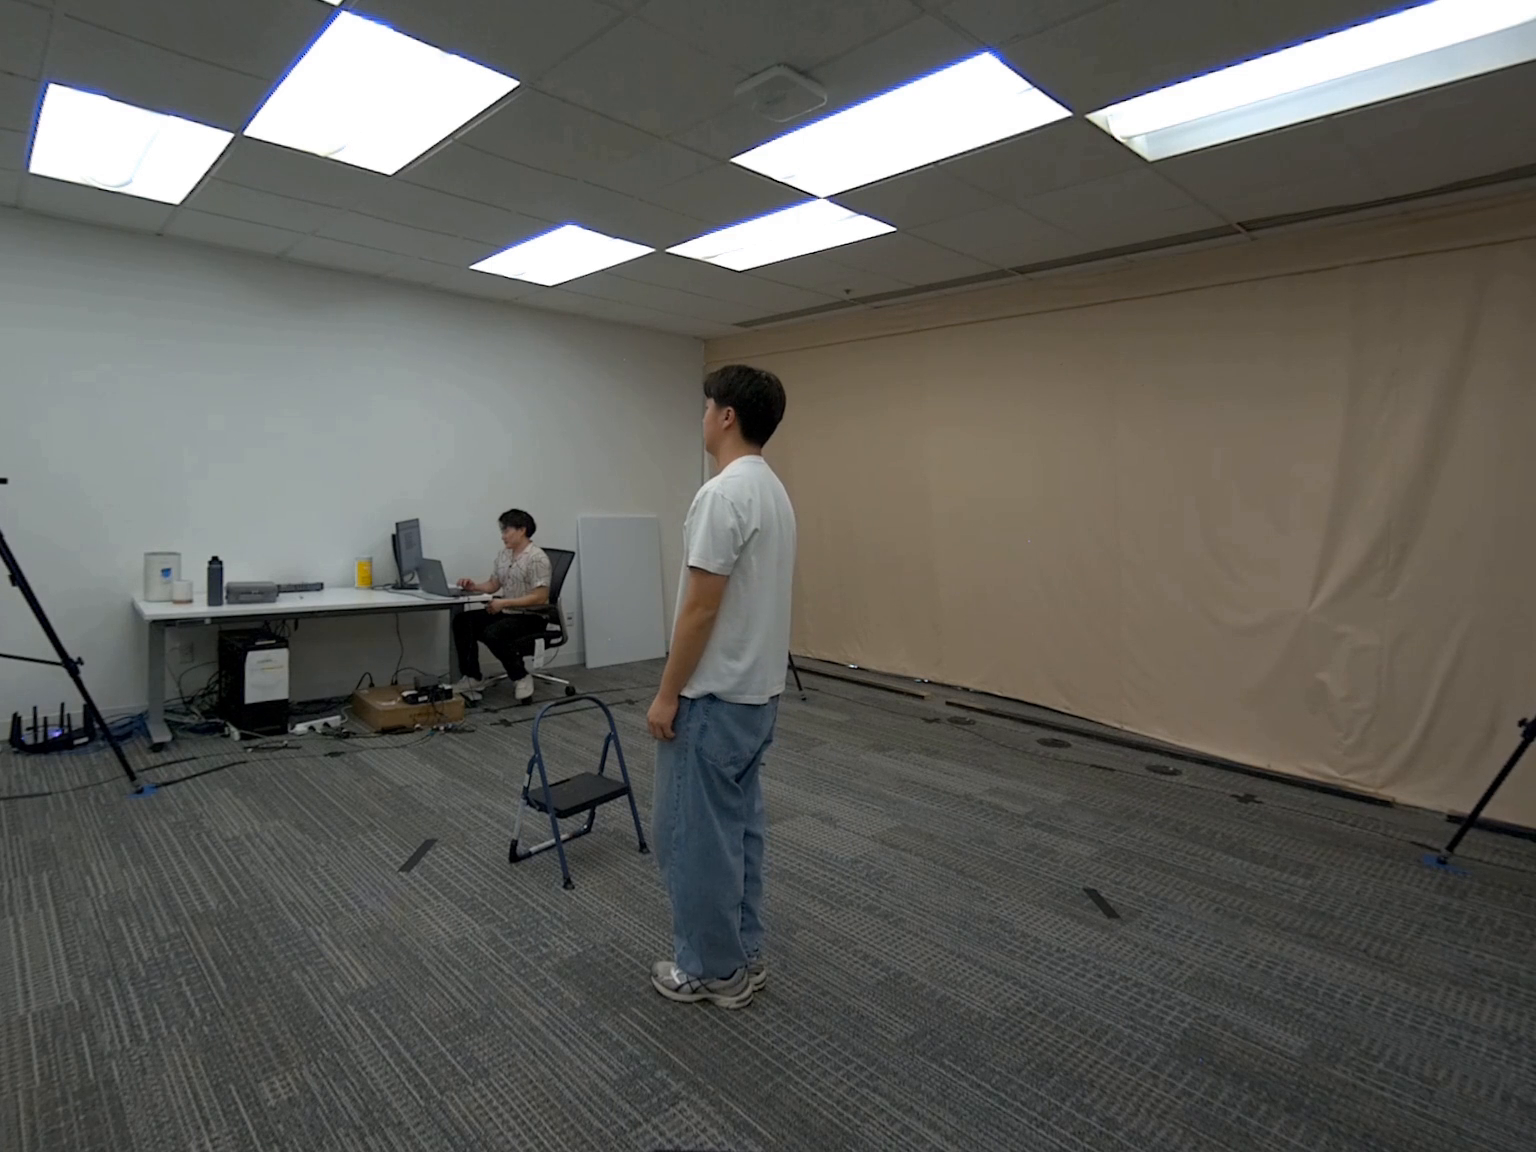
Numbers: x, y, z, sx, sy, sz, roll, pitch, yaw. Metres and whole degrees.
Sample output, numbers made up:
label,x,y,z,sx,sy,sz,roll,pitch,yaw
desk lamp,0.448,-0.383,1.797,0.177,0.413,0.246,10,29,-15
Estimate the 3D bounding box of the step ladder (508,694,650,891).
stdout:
label,x,y,z,sx,sy,sz,roll,pitch,yaw
step ladder,-0.724,0.781,3.222,0.357,0.604,0.421,4,4,34
